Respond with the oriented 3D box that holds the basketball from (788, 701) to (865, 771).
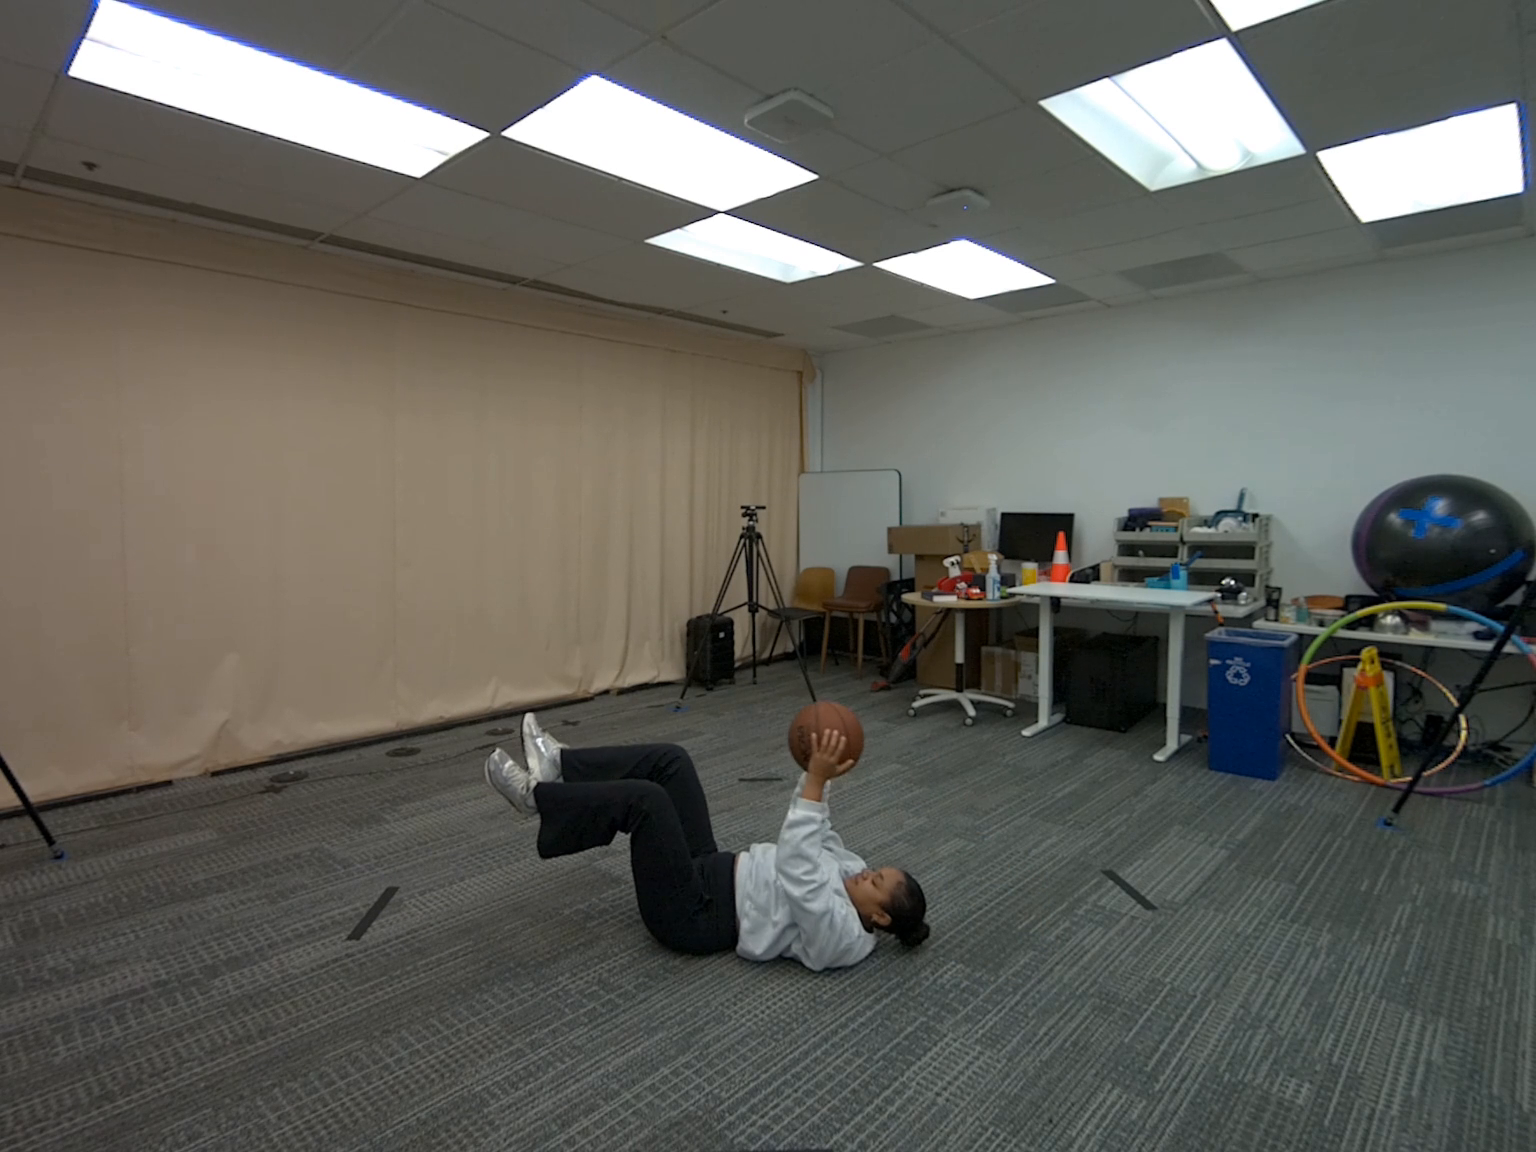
[{"bbox_3d":[0.198,0.527,2.655,0.235,0.235,0.237,1,4,-2],"label":"basketball"}]
